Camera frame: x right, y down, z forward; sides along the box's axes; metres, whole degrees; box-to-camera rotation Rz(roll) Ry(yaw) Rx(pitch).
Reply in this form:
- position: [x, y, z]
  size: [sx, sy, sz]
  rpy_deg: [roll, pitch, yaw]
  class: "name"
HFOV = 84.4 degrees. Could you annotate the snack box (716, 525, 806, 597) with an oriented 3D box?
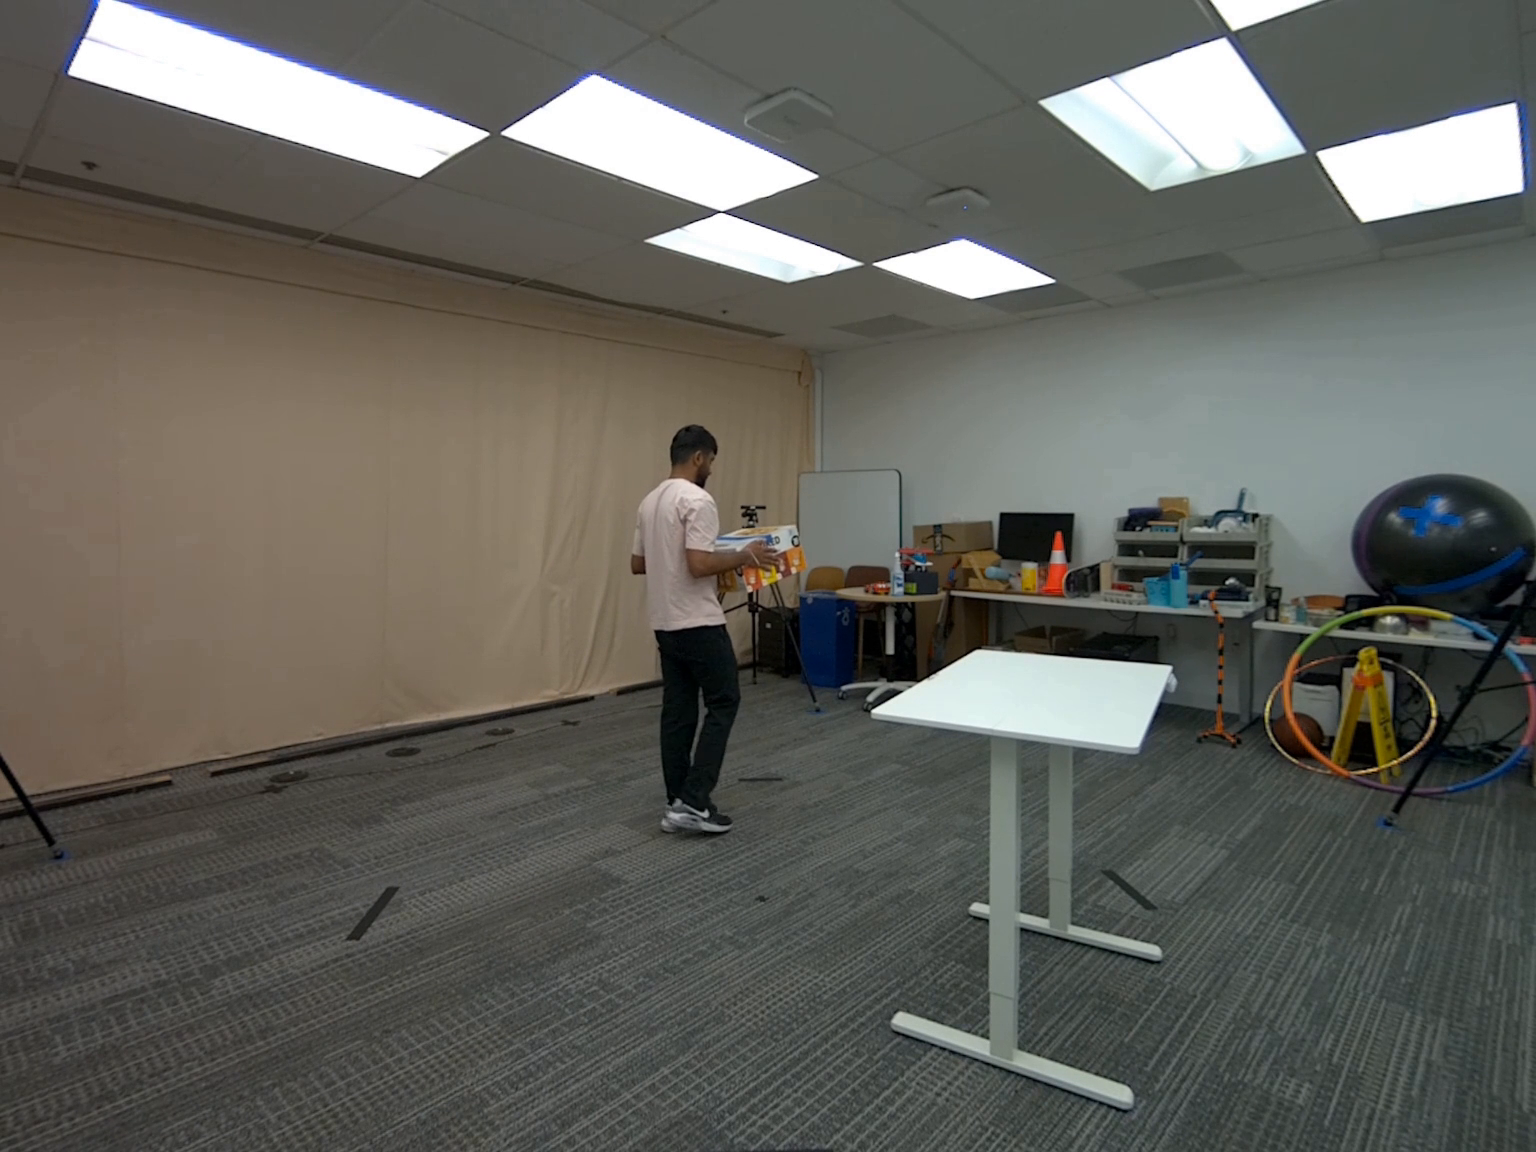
- position: [-0.102, -0.076, 3.793]
  size: [0.333, 0.204, 0.417]
  rpy_deg: [-21, 12, -35]
  class: "snack box"
